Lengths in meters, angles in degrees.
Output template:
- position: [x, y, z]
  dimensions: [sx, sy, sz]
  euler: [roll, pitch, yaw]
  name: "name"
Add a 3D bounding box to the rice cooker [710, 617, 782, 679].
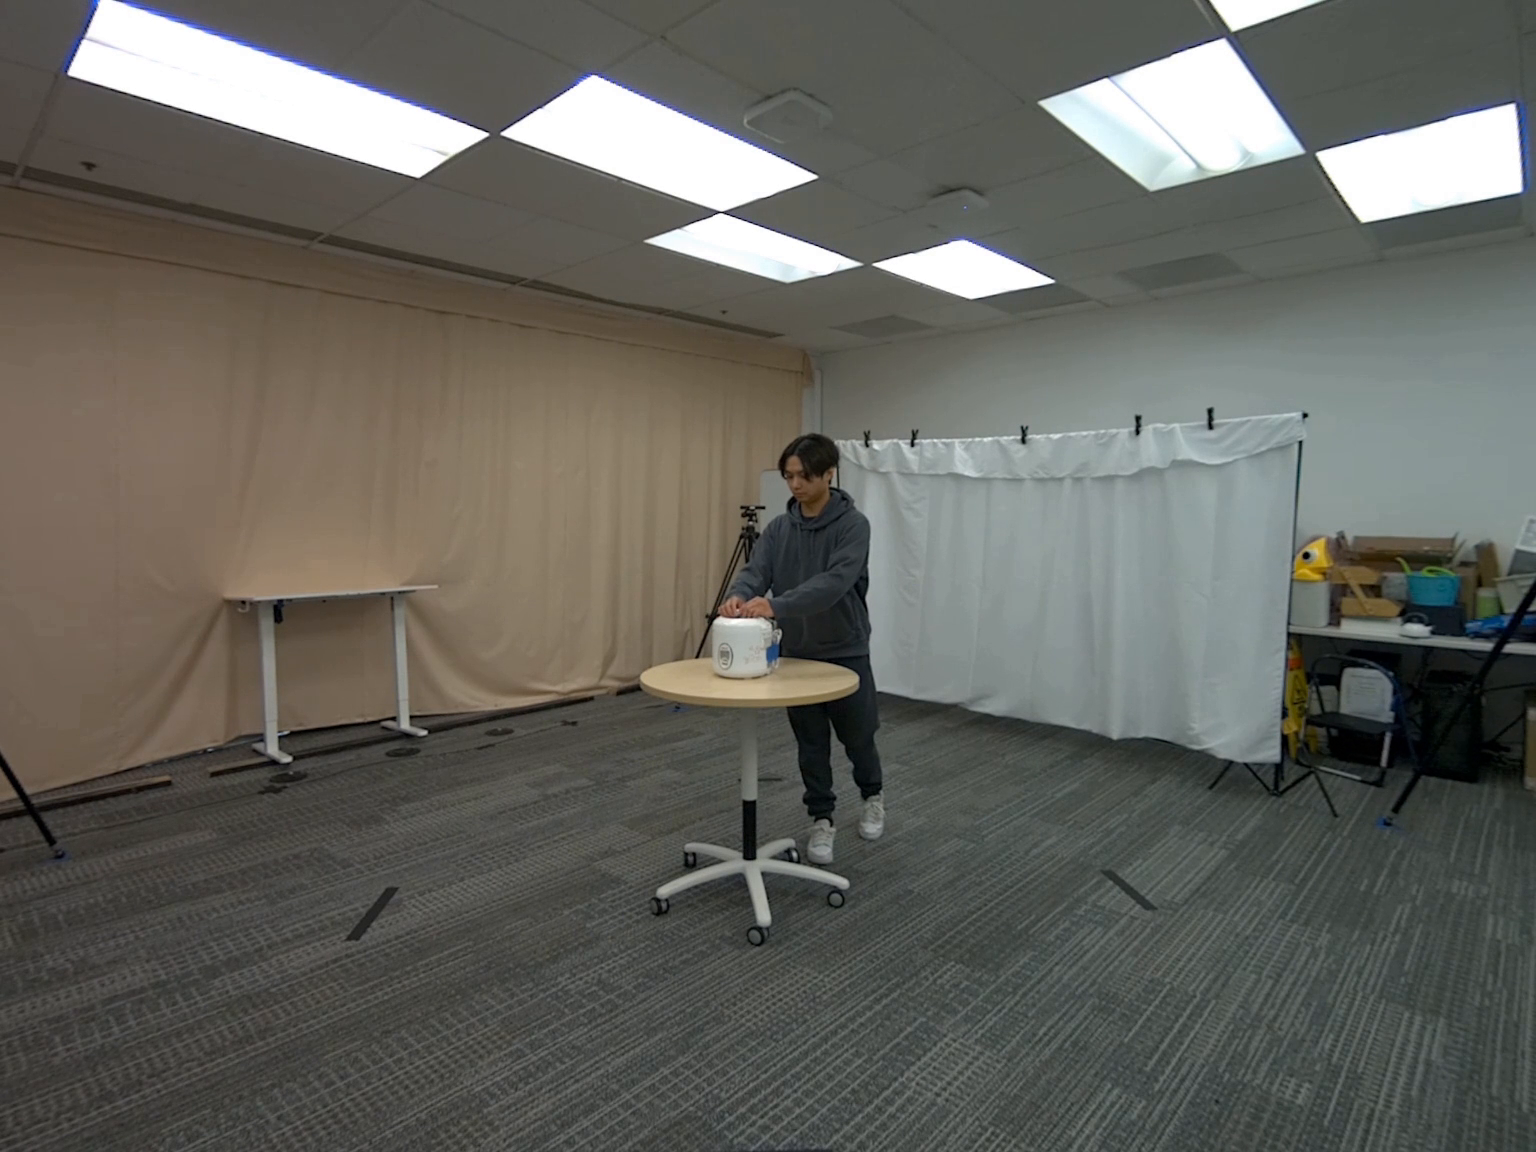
- position: [-0.087, 0.230, 2.968]
  dimensions: [0.227, 0.233, 0.211]
  euler: [1, 1, 32]
  name: "rice cooker"
